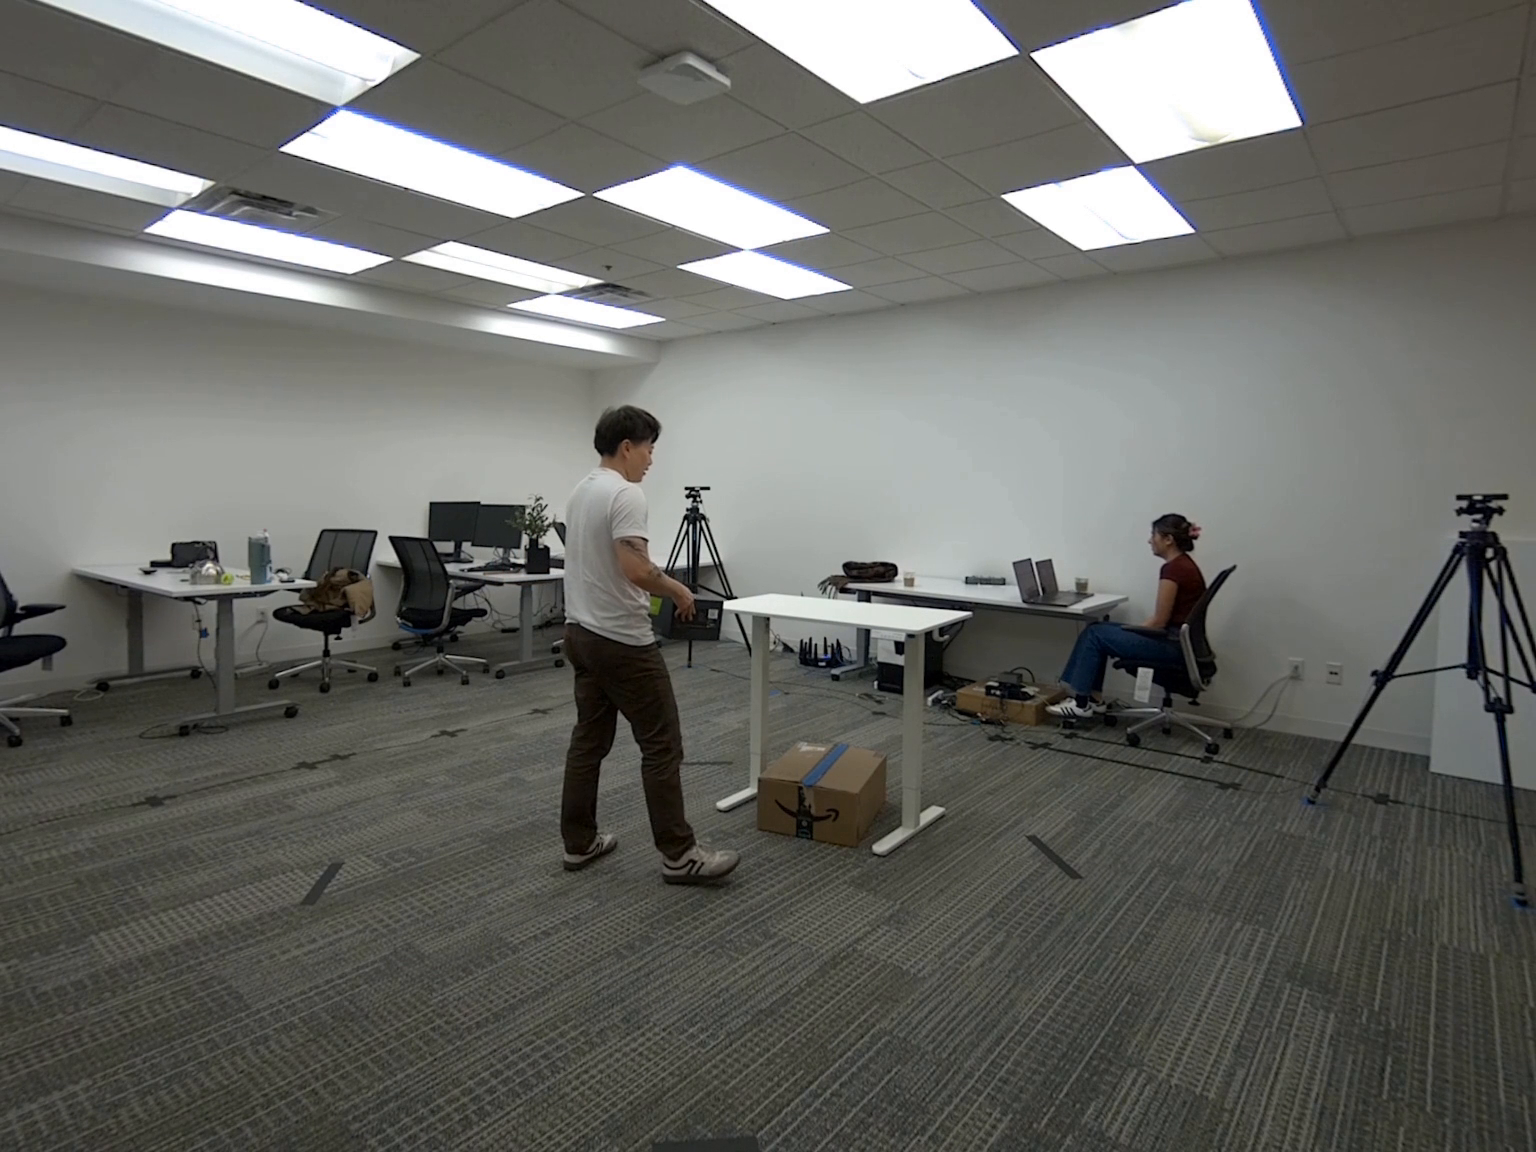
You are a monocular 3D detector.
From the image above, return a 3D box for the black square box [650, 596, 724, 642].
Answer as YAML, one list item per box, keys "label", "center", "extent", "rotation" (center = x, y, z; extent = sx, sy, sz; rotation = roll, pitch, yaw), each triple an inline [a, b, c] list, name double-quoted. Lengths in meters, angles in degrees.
- label: "black square box"
  center: [-0.328, 0.151, 3.255]
  extent: [0.210, 0.156, 0.235]
  rotation: [5, 2, -31]
